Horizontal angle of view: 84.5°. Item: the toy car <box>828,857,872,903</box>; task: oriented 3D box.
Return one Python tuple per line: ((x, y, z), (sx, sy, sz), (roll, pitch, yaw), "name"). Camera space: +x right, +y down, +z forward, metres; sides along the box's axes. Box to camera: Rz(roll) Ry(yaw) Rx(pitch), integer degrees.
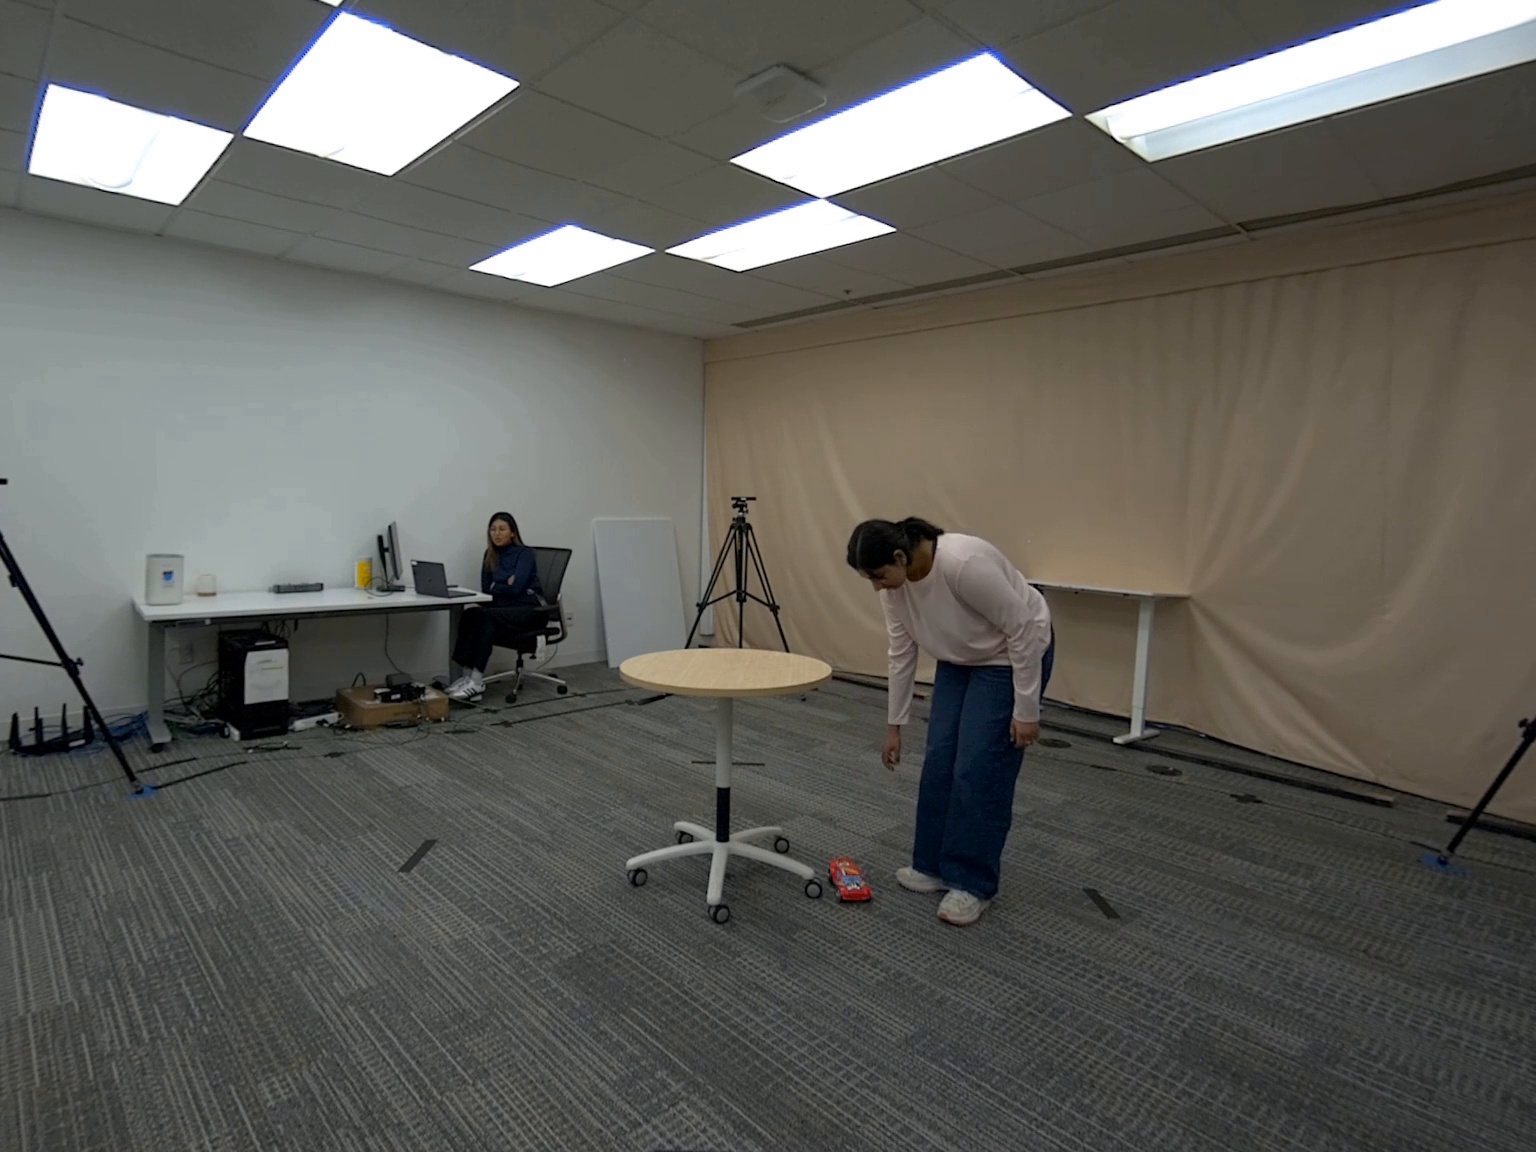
((0.268, 1.076, 3.031), (0.129, 0.082, 0.259), (1, 17, -10), "toy car")
